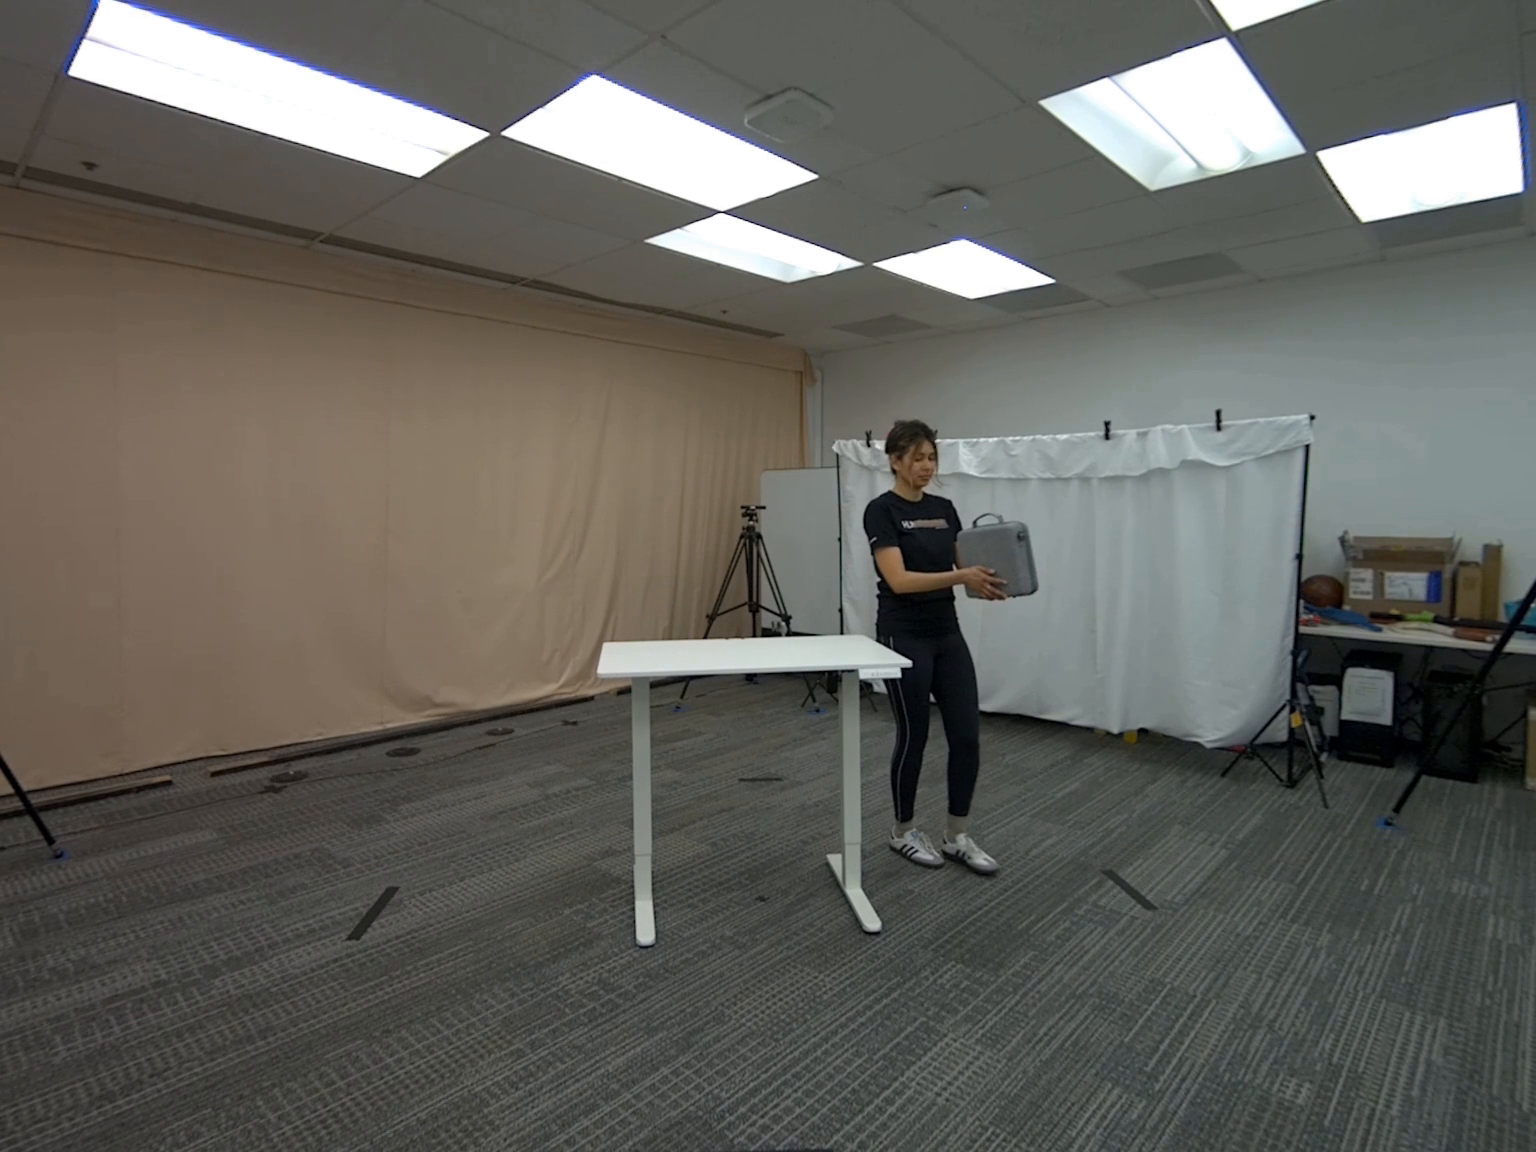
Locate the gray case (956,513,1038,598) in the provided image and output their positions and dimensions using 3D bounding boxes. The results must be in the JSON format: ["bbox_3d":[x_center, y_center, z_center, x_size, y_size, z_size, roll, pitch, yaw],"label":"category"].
[{"bbox_3d":[0.795,-0.055,2.924,0.101,0.261,0.263,-9,-1,-35],"label":"gray case"}]
